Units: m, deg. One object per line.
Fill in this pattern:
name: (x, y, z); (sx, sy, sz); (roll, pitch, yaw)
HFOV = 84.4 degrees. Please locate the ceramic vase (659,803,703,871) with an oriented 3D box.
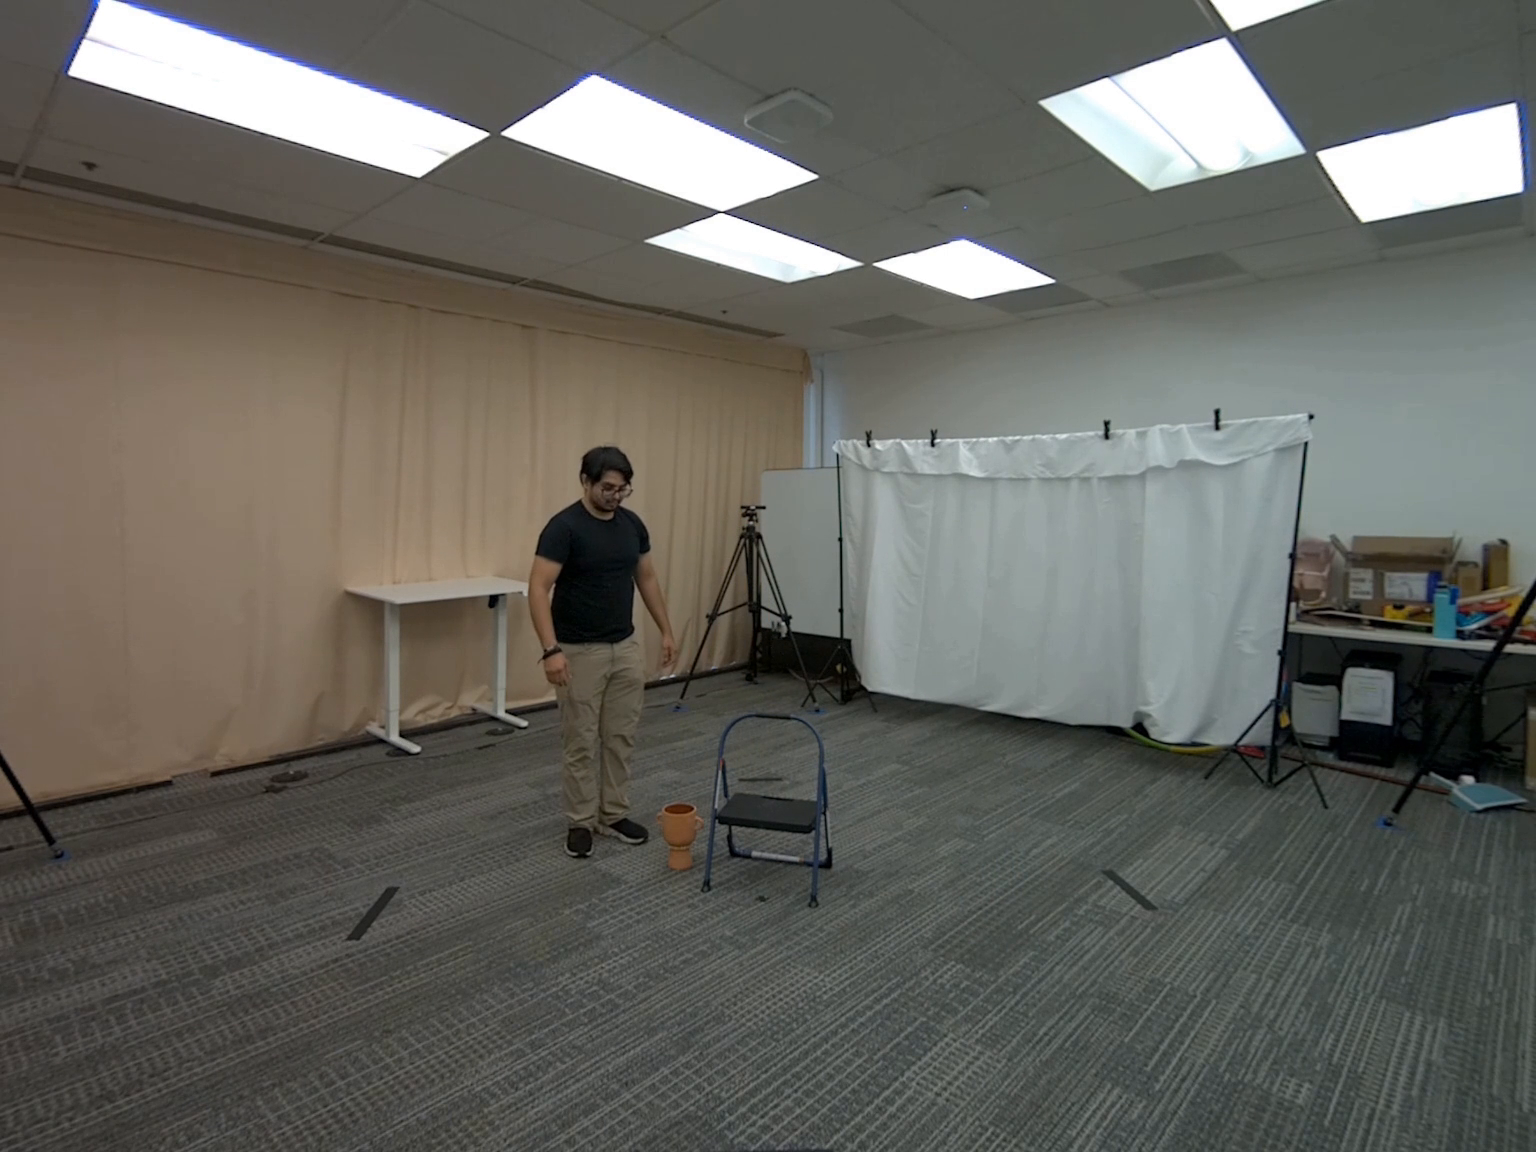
ceramic vase: (-0.343, 1.011, 3.269); (0.131, 0.219, 0.164); (-3, 4, -33)
